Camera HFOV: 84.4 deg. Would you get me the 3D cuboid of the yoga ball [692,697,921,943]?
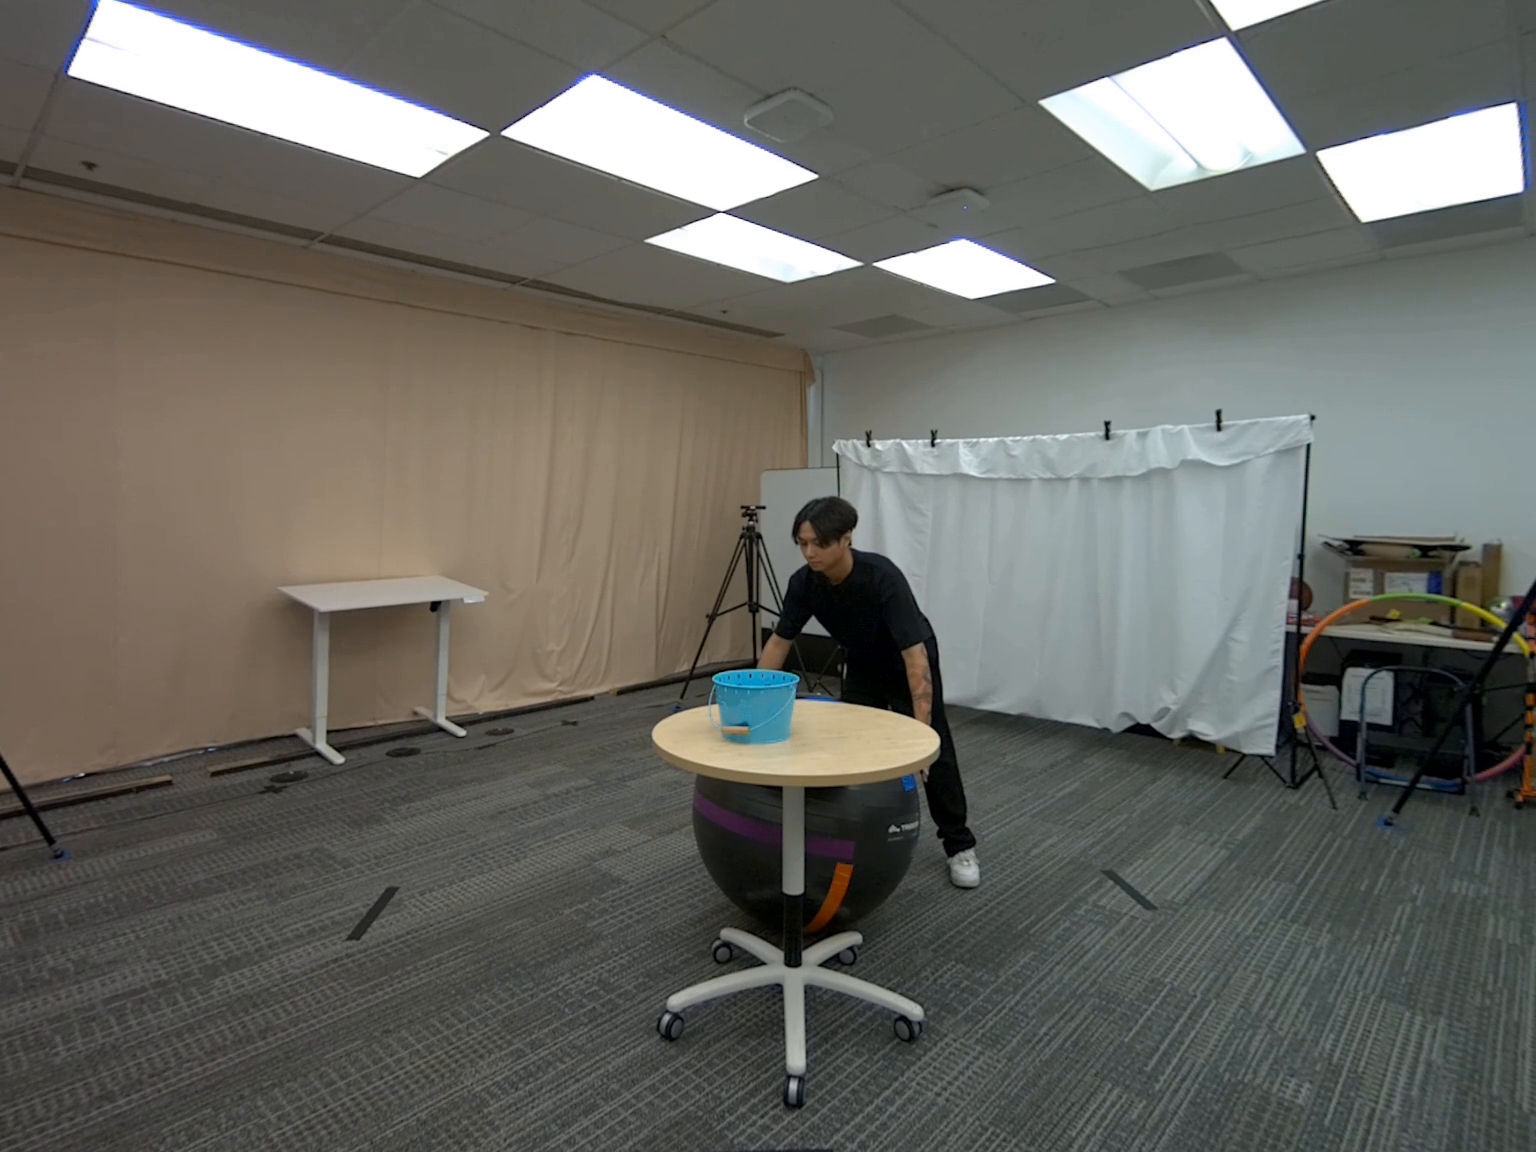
[{"bbox_3d":[0.126,0.786,2.826,0.757,0.756,0.760,0,4,-2],"label":"yoga ball"}]
